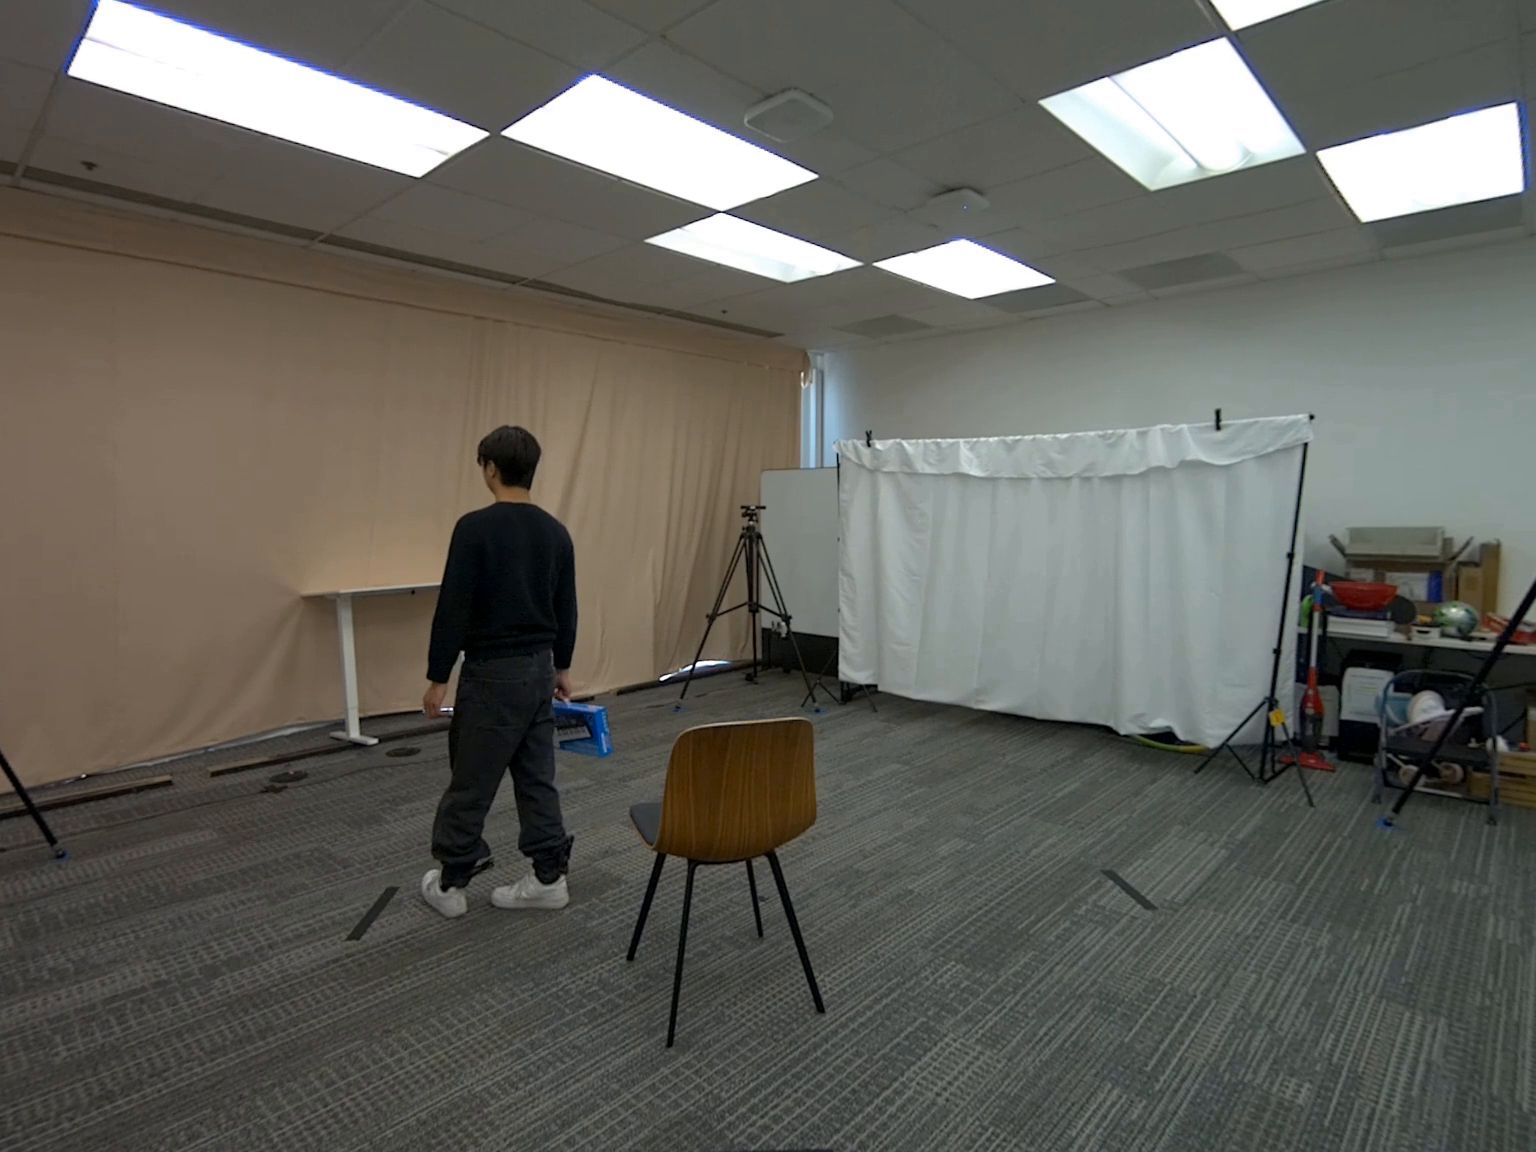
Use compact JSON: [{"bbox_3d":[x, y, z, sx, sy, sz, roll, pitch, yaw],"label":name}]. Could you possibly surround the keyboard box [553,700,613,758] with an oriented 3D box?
[{"bbox_3d":[-0.779,0.571,3.195,0.450,0.175,0.057,-1,9,39],"label":"keyboard box"}]
